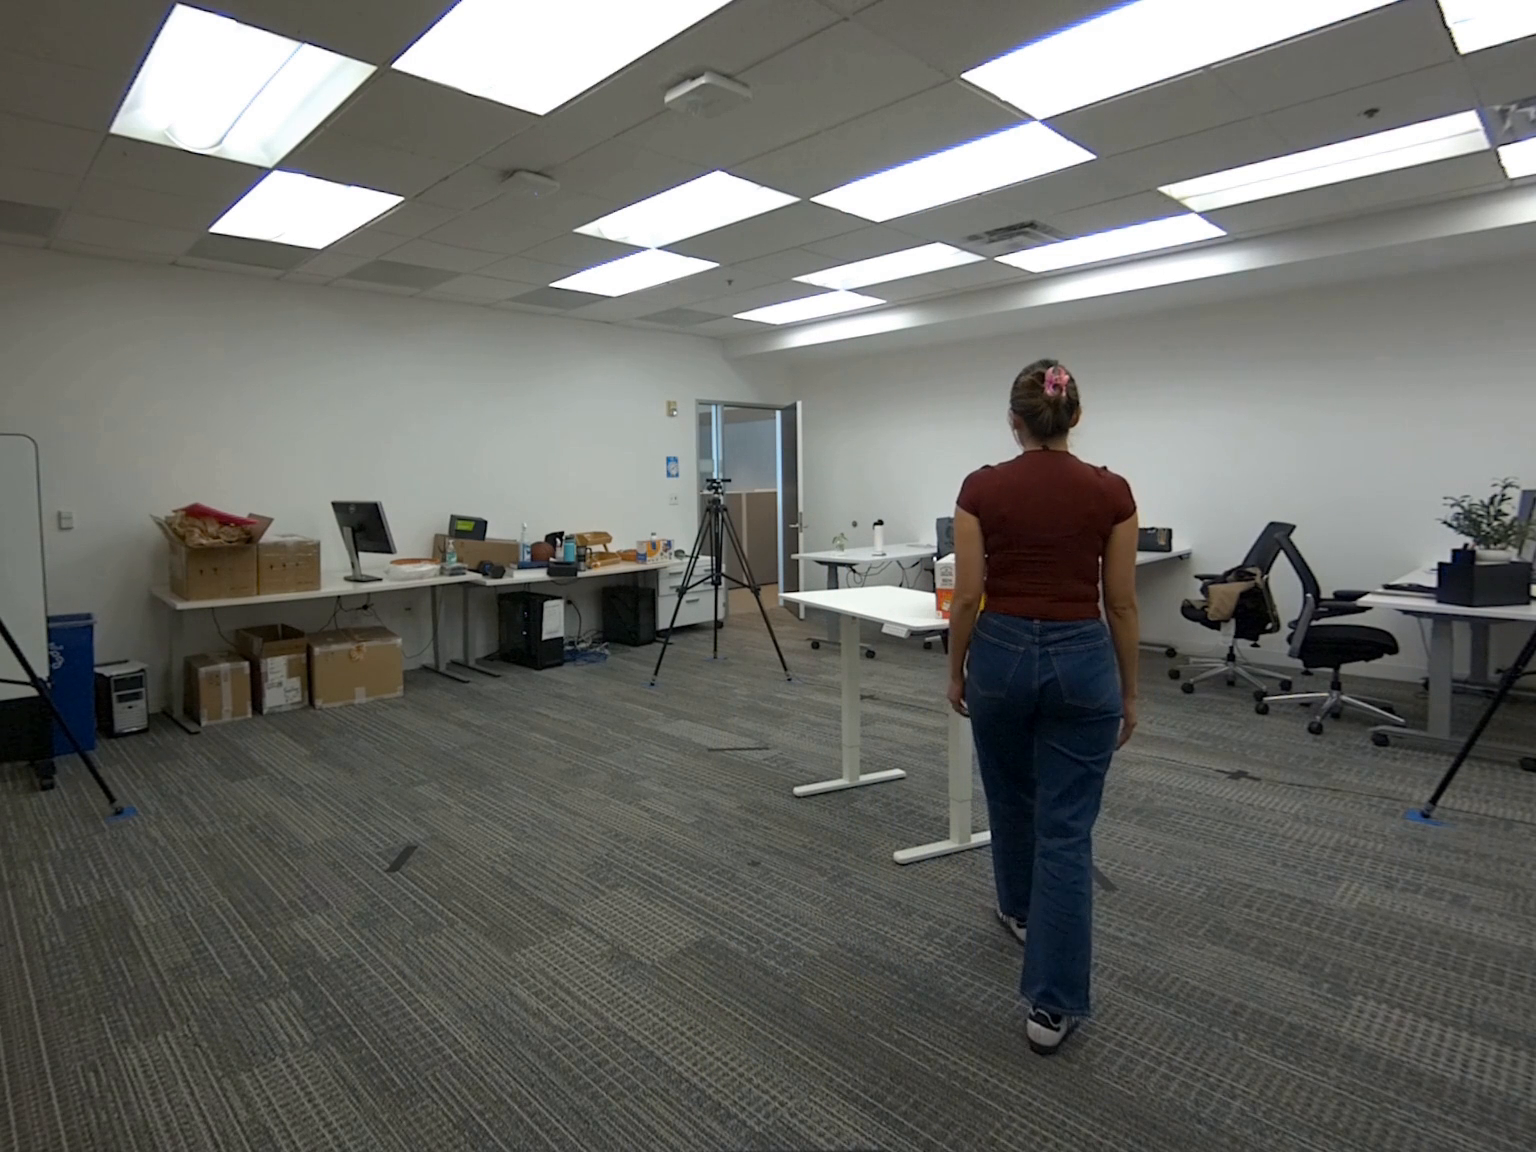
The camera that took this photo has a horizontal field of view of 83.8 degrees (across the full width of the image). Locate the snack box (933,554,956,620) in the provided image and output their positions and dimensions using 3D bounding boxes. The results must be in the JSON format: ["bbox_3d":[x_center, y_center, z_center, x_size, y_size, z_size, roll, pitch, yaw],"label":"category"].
[{"bbox_3d":[0.837,0.037,3.189,0.347,0.205,0.398,2,6,21],"label":"snack box"}]
